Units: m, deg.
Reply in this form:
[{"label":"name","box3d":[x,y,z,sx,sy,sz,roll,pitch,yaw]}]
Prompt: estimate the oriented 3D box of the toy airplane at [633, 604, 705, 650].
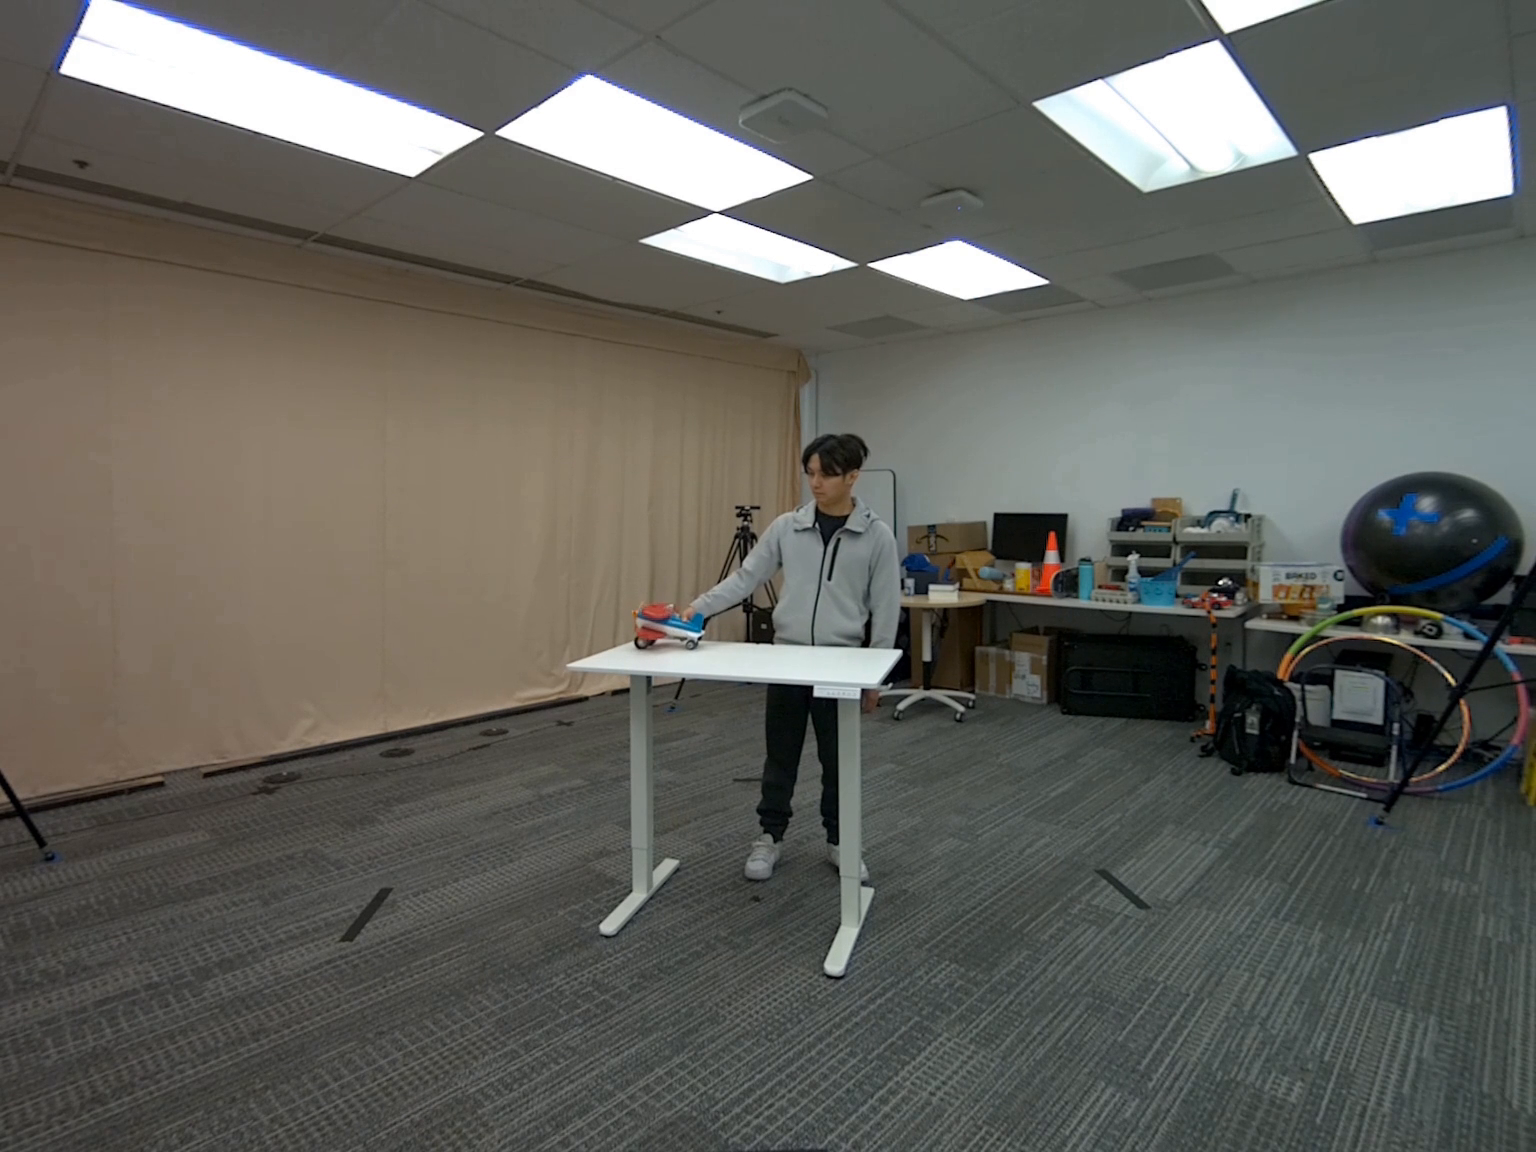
[{"label":"toy airplane","box3d":[-0.362,0.184,3.067,0.254,0.156,0.256,-2,5,-19]}]
